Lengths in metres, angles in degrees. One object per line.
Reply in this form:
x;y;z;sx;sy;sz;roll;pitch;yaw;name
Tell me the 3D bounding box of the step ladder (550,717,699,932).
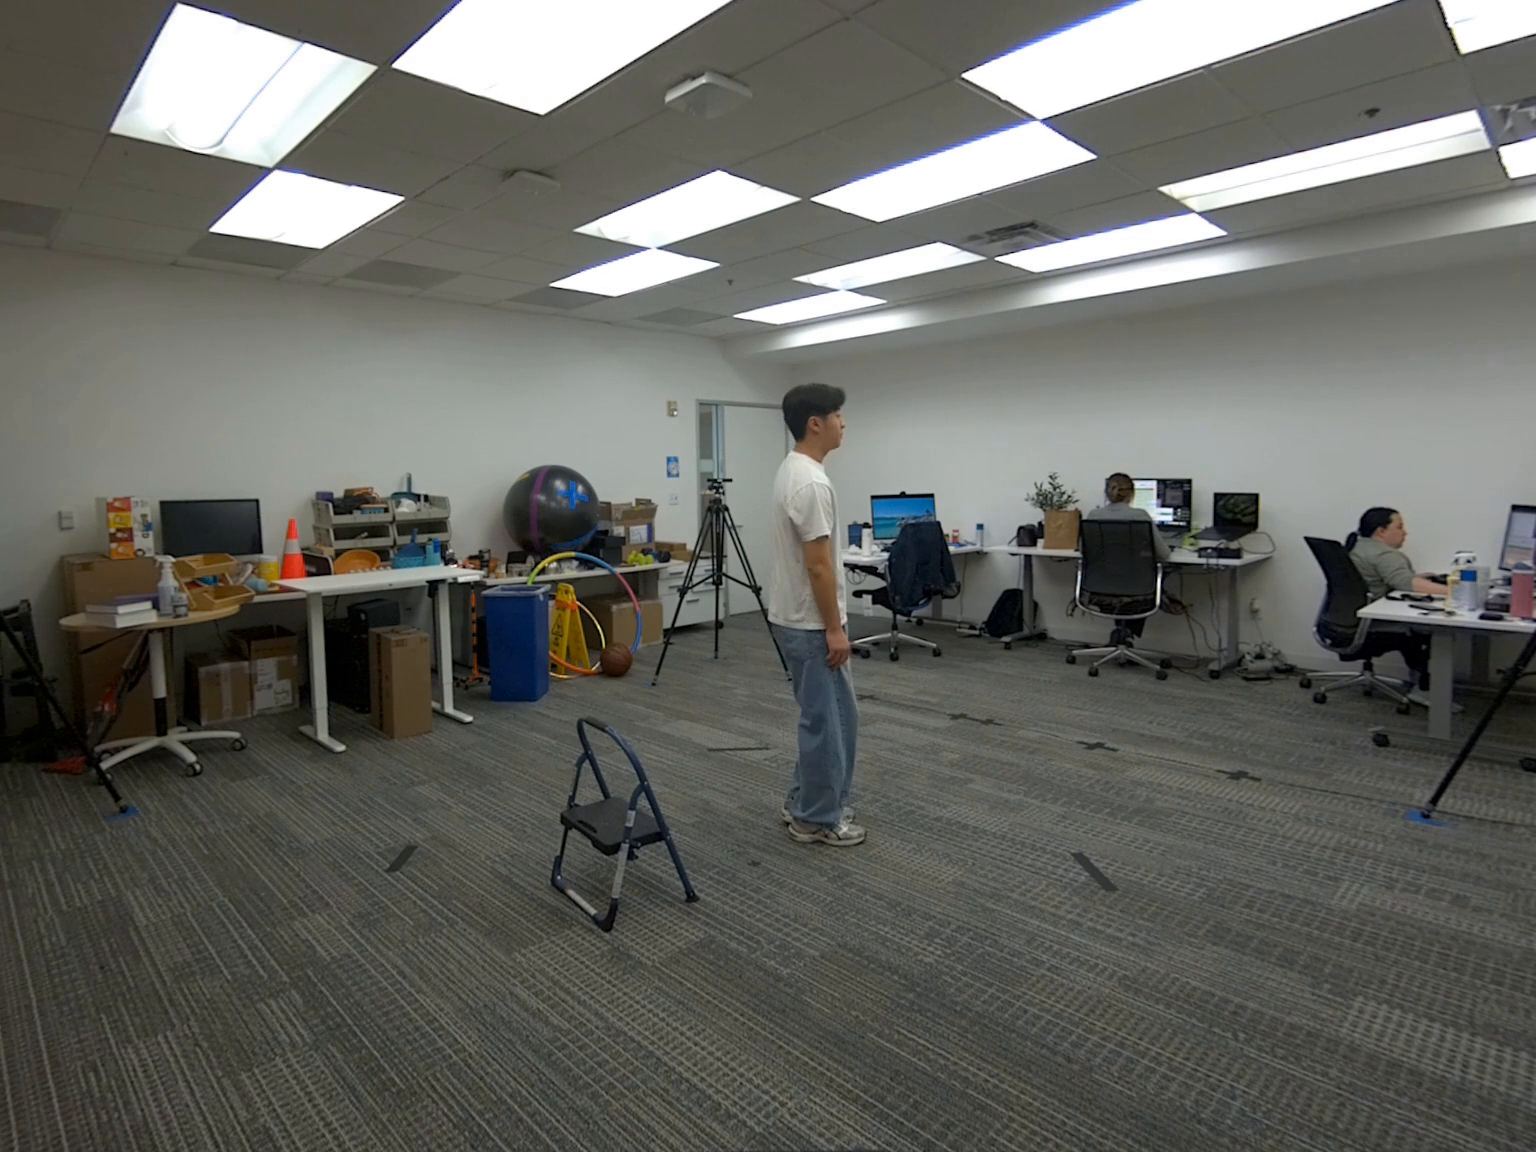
-0.501;0.774;2.892;0.340;0.604;0.444;-5;6;-38;step ladder
